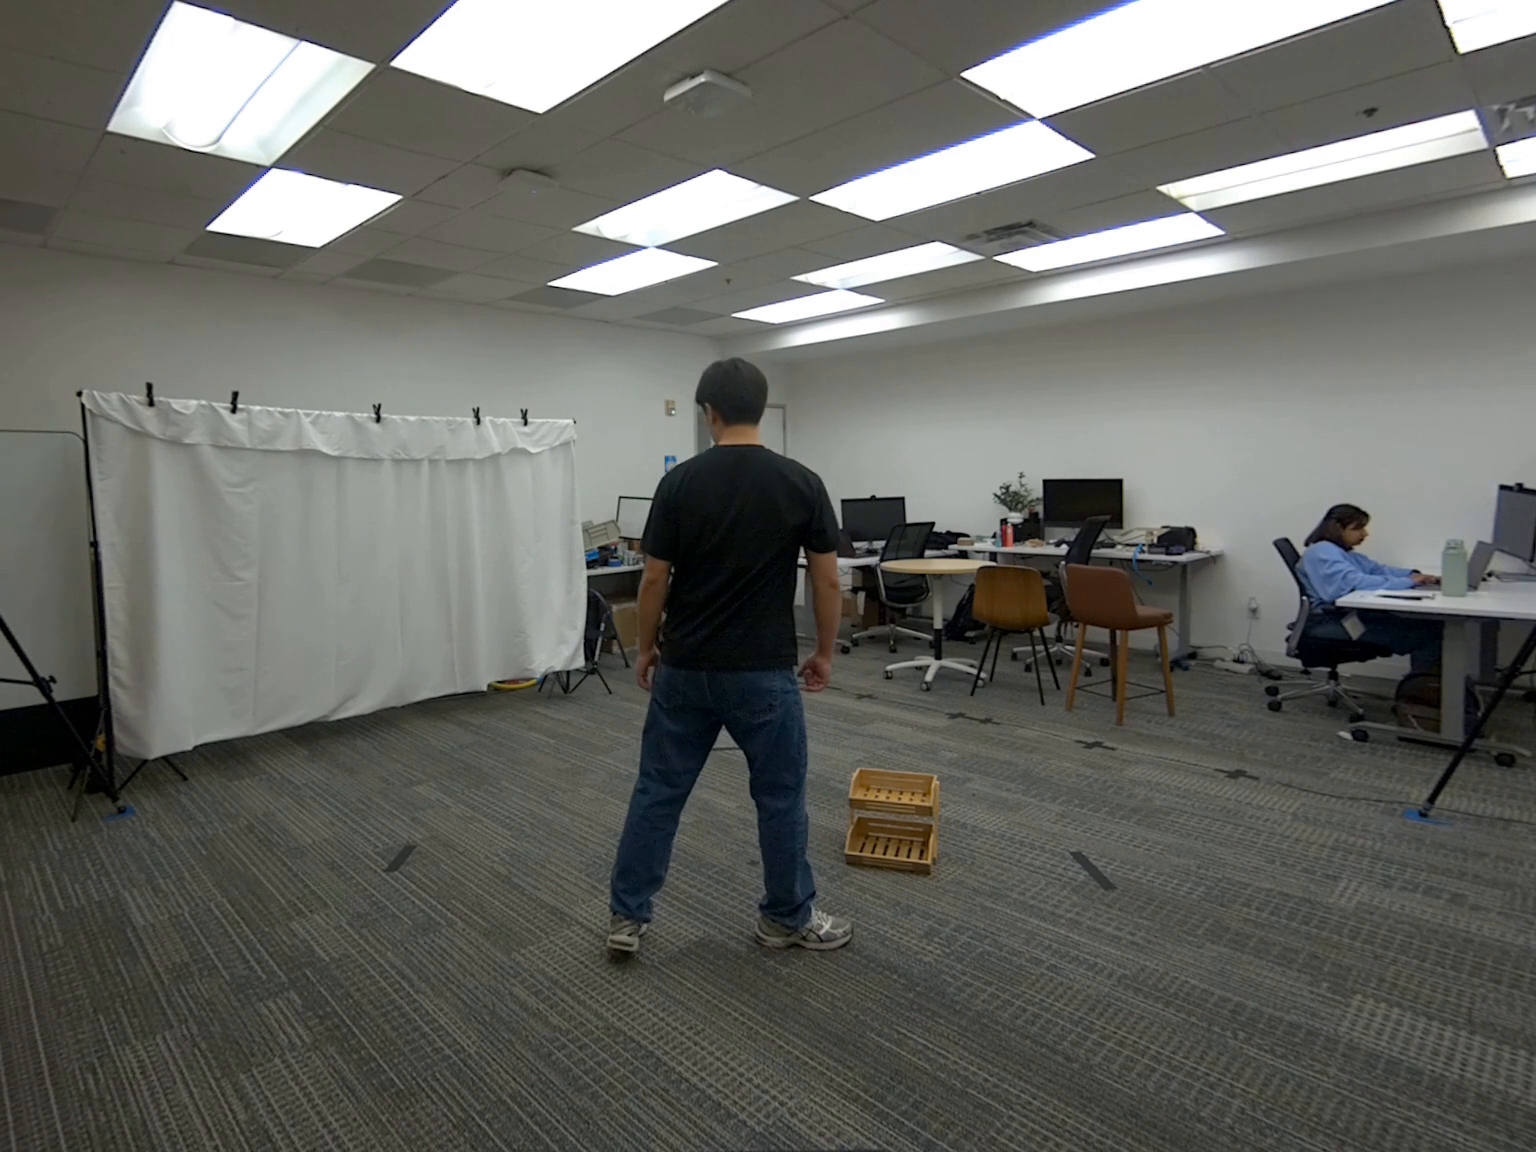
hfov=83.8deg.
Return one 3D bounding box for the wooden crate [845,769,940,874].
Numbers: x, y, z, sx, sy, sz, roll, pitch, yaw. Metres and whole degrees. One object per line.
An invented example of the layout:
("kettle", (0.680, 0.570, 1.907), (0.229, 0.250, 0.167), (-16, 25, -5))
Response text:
("wooden crate", (0.464, 0.893, 3.152), (0.330, 0.272, 0.298), (0, 4, 17))
